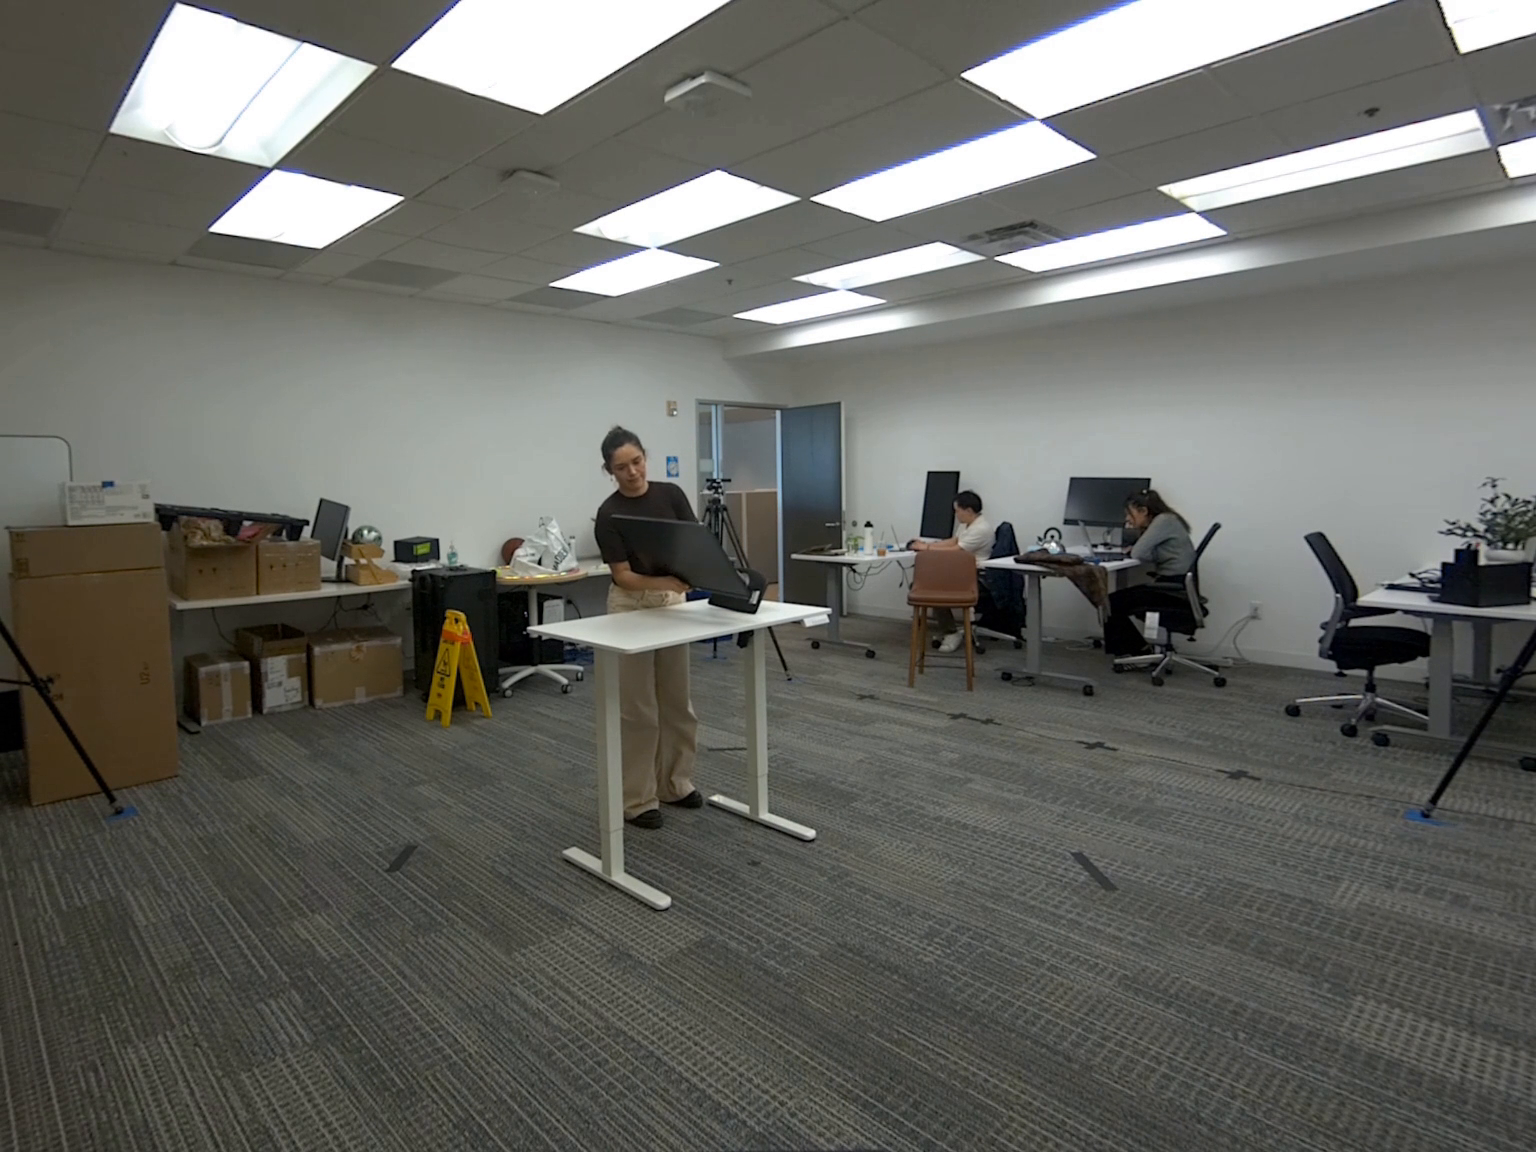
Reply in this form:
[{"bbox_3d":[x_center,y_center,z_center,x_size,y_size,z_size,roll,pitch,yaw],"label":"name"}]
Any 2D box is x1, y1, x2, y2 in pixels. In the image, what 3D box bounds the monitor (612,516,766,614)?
[{"bbox_3d":[-0.262,-0.058,3.214,0.556,0.188,0.502,5,-27,44],"label":"monitor"}]
